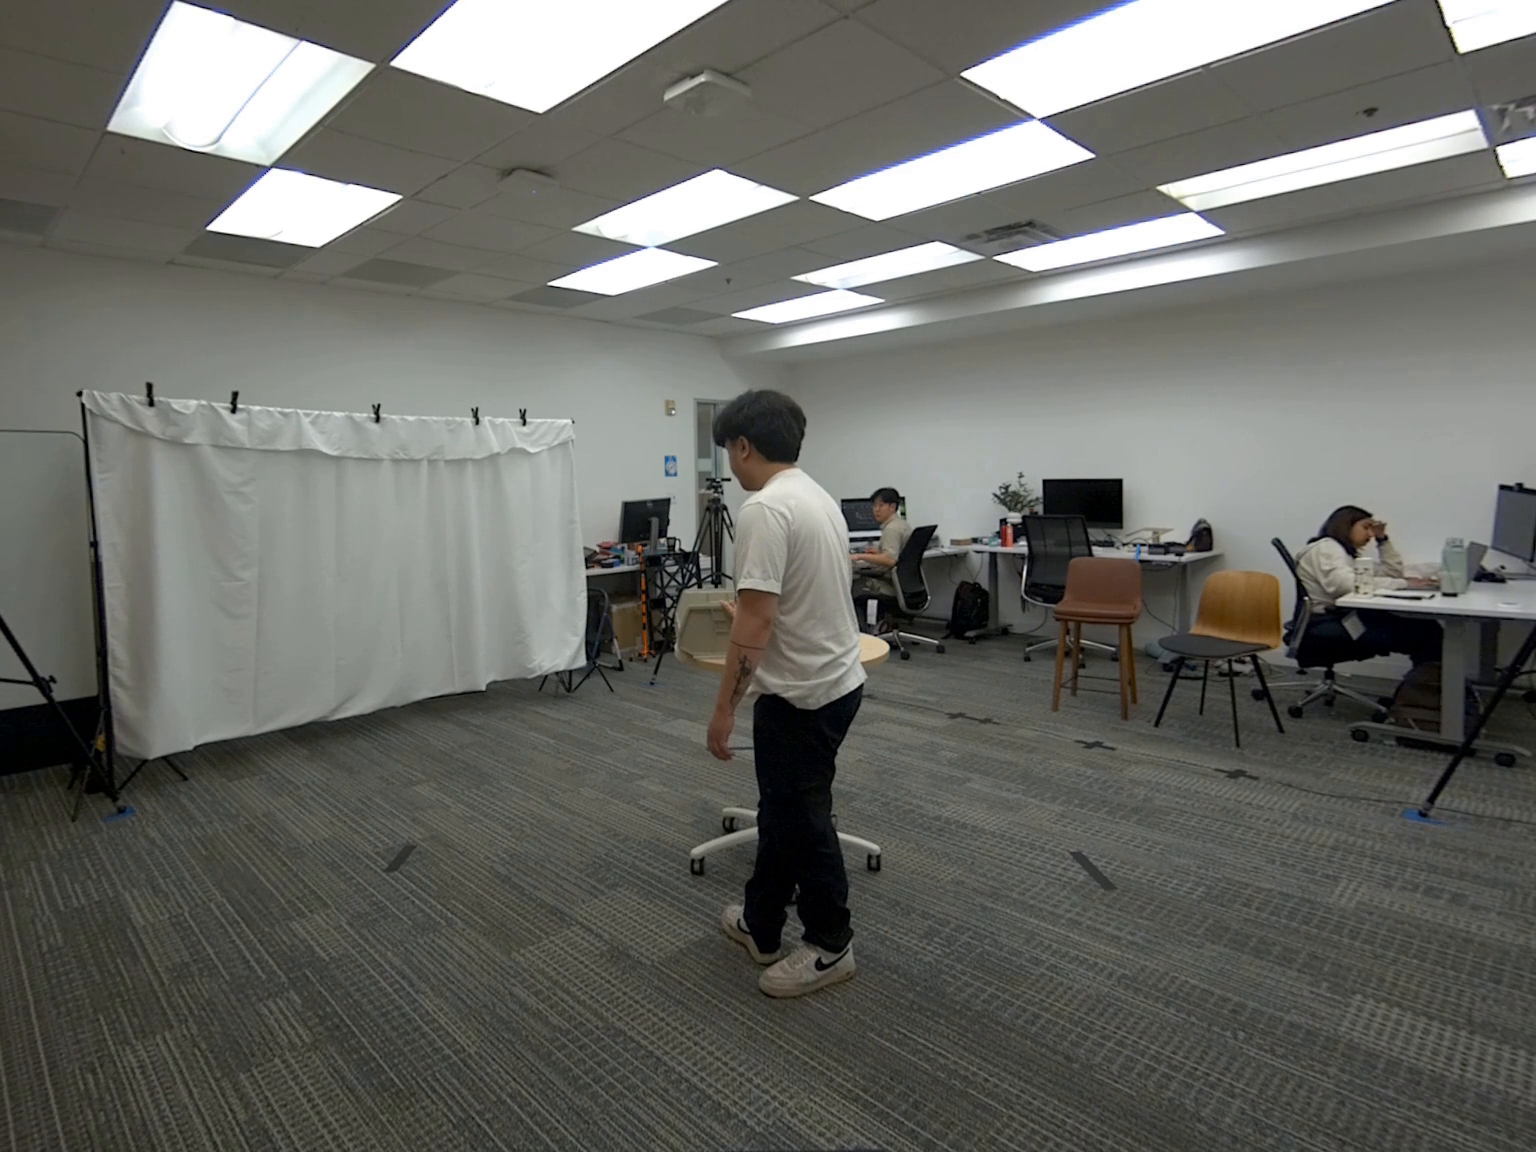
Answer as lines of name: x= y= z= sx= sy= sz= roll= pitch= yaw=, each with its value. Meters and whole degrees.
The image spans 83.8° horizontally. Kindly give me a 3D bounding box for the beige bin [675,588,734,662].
beige bin: x=-0.136 y=0.161 z=3.035 sx=0.375 sy=0.188 sz=0.427 roll=0 pitch=6 yaw=-7
